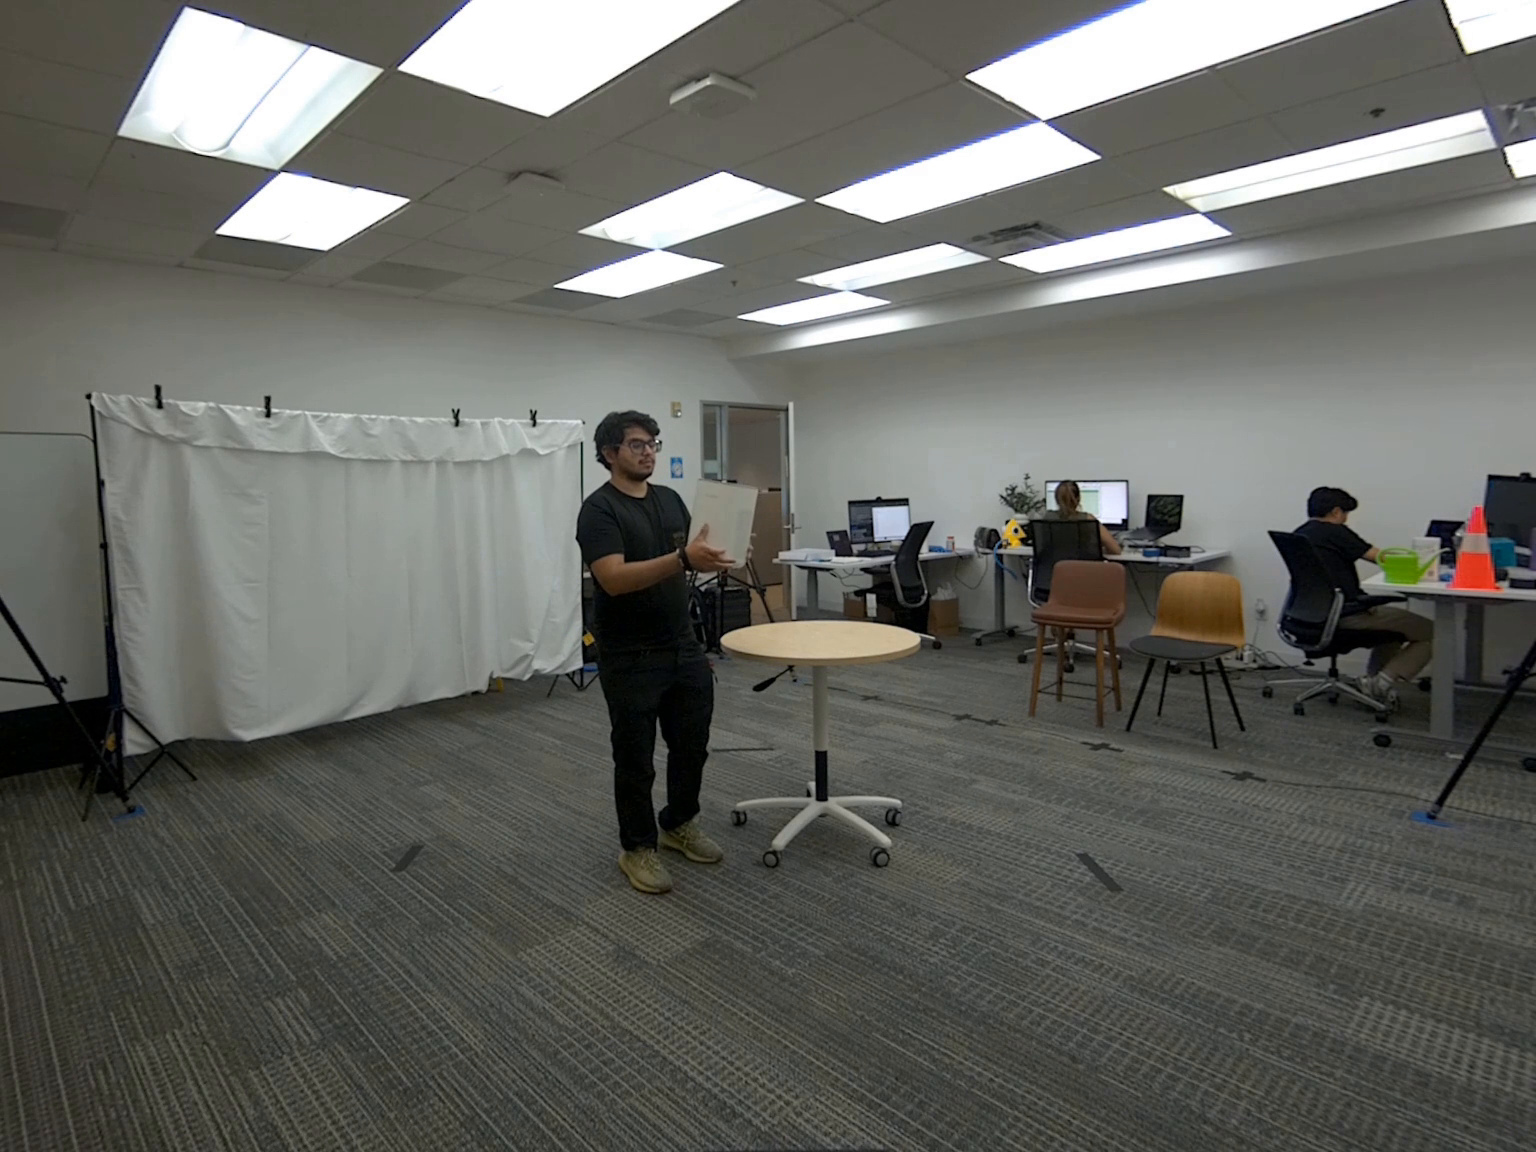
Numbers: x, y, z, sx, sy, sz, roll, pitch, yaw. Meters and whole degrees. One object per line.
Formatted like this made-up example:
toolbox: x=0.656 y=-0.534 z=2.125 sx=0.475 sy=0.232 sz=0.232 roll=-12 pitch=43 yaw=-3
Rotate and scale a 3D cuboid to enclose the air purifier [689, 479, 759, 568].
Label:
air purifier: x=-0.142 y=-0.164 z=2.731 sx=0.175 sy=0.265 sz=0.167 roll=9 pitch=2 yaw=24
